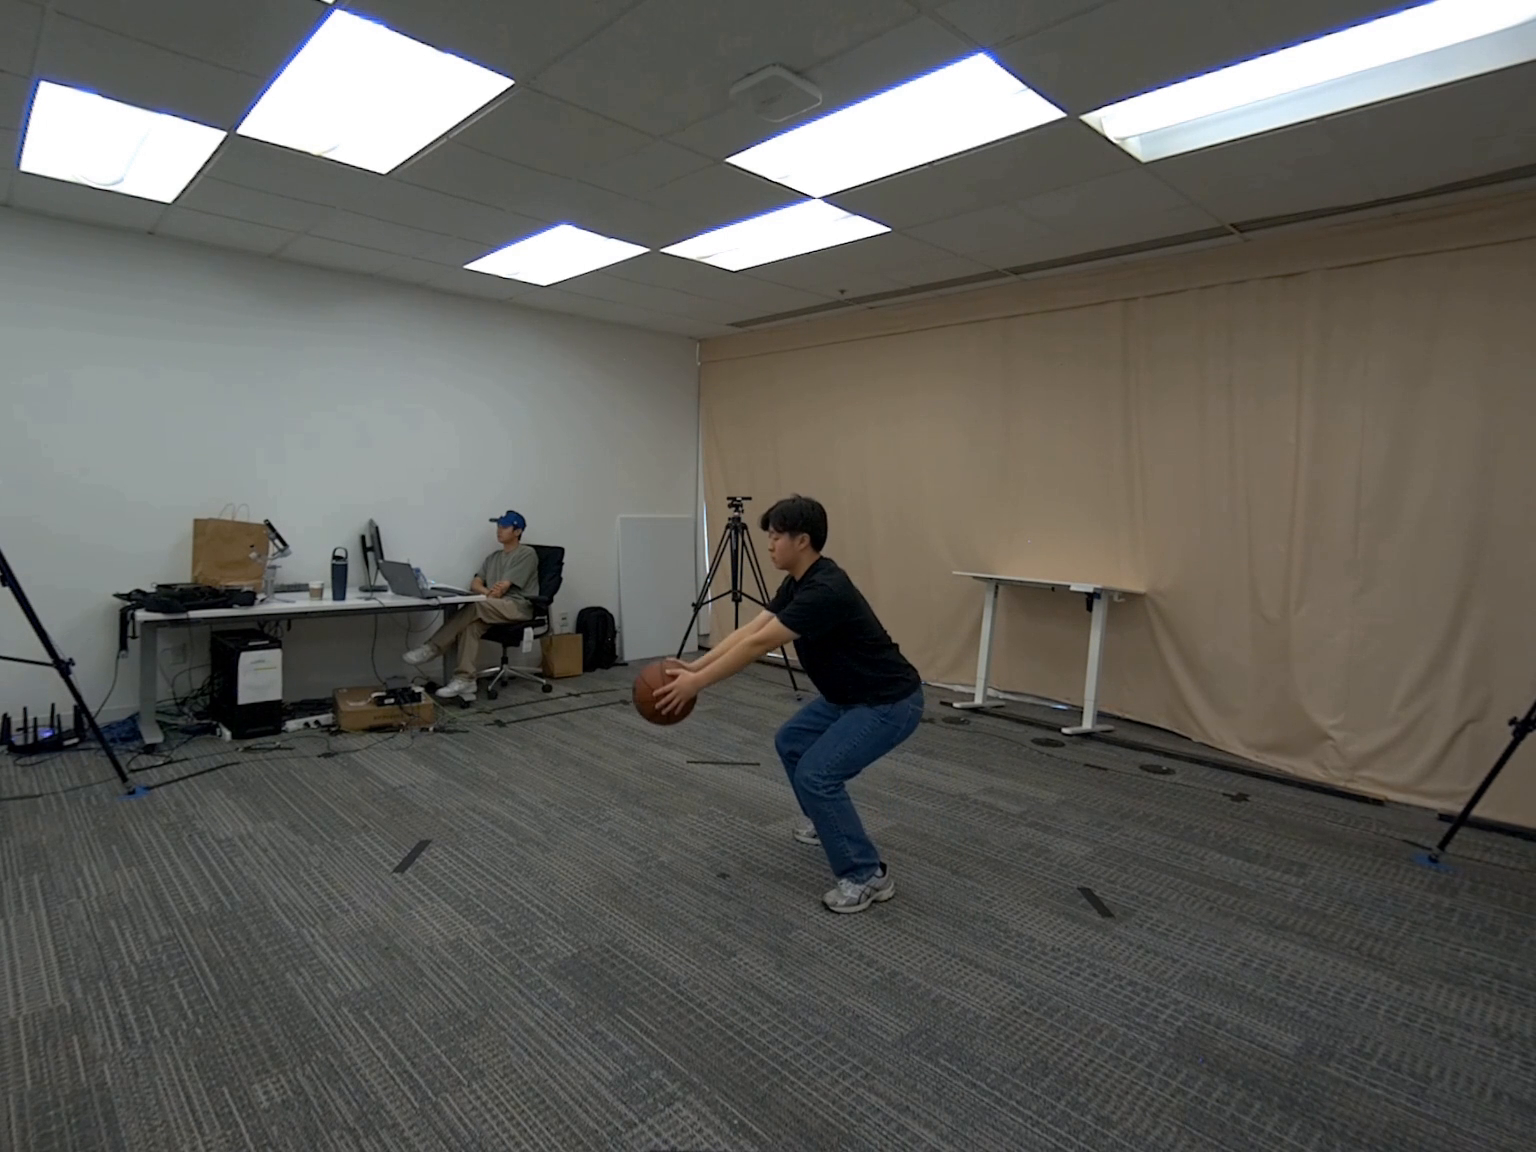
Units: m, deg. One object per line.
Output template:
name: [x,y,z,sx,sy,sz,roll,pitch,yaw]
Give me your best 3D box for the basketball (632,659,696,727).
basketball: [-0.375,0.417,3.073,0.236,0.235,0.237,1,4,-1]
